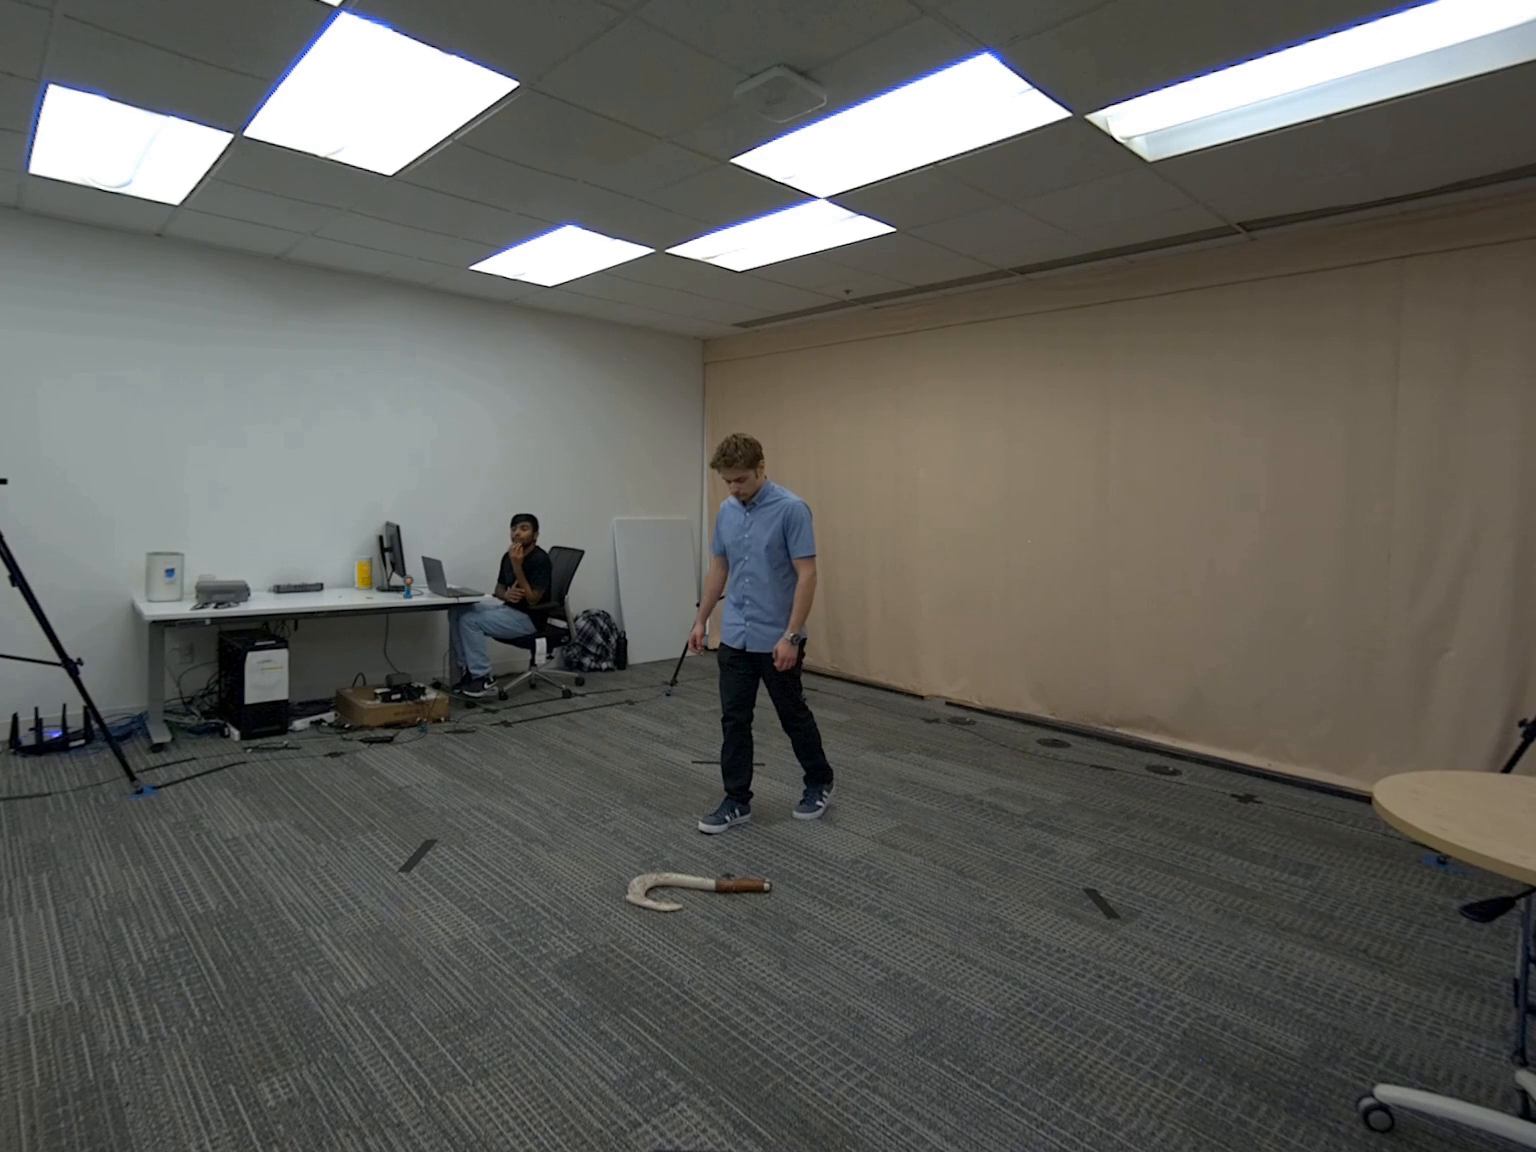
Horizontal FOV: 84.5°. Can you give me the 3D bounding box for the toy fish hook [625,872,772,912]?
[{"bbox_3d":[-0.241,1.104,2.932,0.506,0.048,0.227,1,13,-1],"label":"toy fish hook"}]
